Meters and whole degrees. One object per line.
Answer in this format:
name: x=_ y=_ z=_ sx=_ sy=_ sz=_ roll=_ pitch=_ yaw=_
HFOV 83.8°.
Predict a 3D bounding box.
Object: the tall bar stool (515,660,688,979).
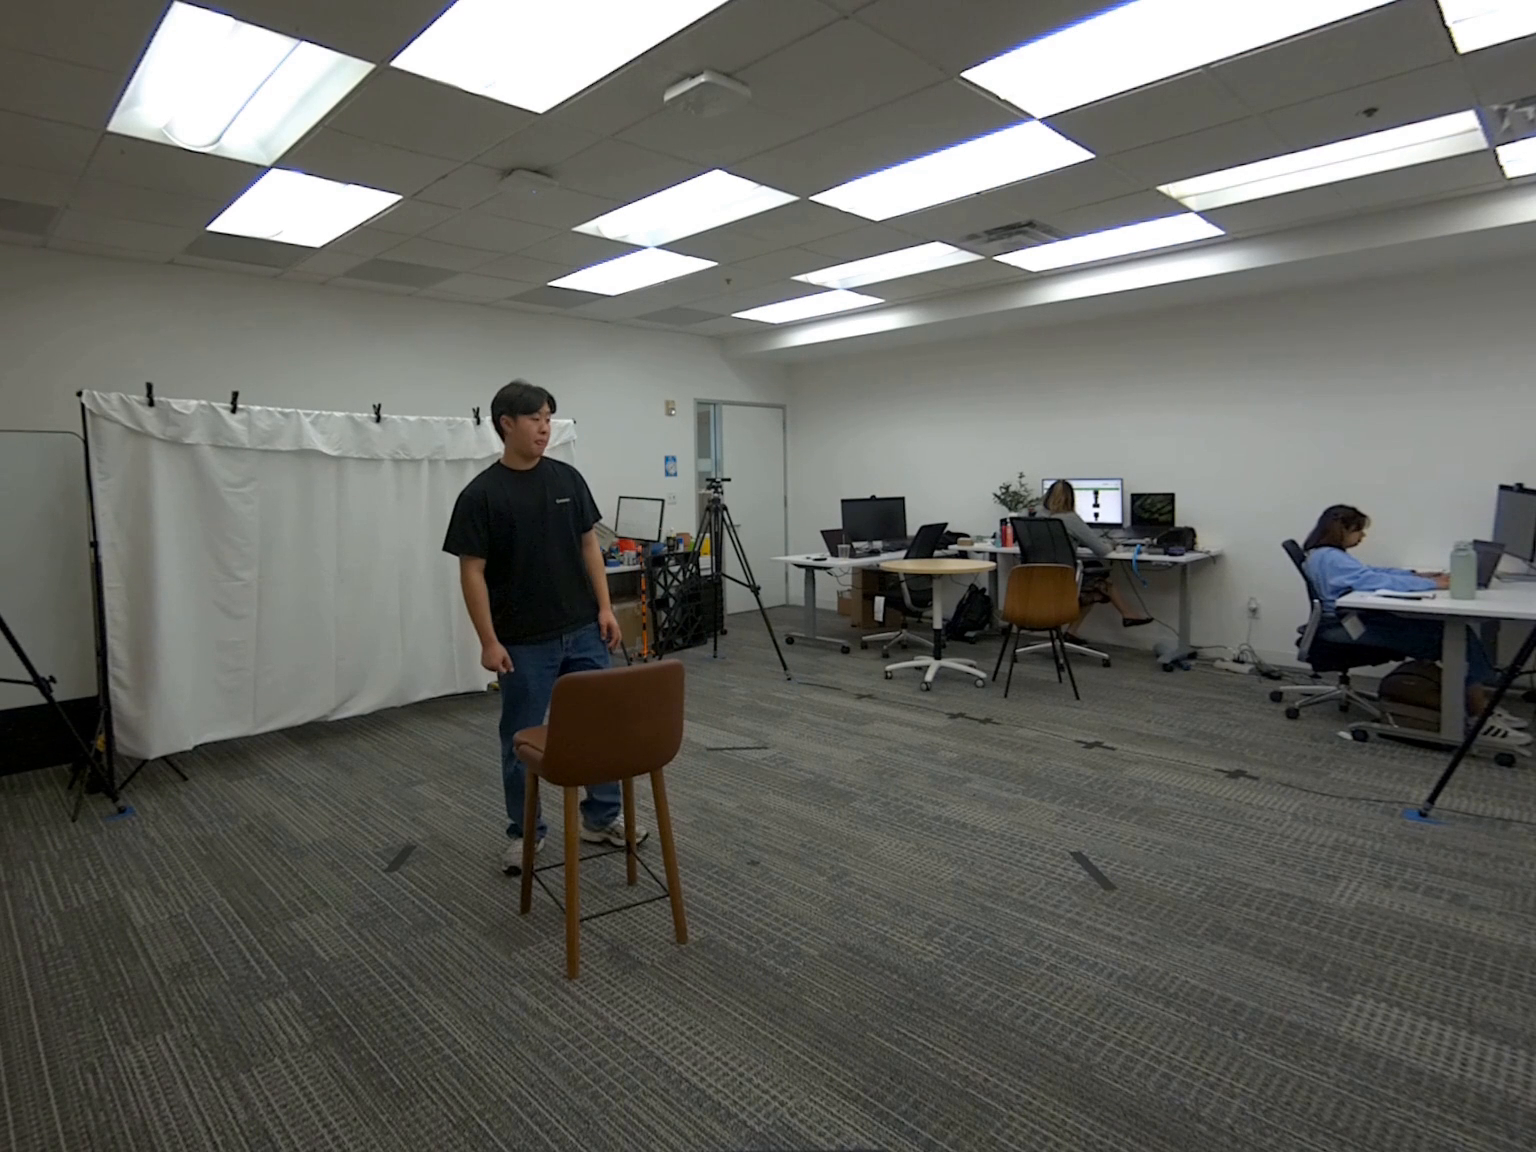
tall bar stool: x=-0.517 y=0.671 z=2.653 sx=0.446 sy=0.885 sz=0.481 roll=-4 pitch=7 yaw=-30
